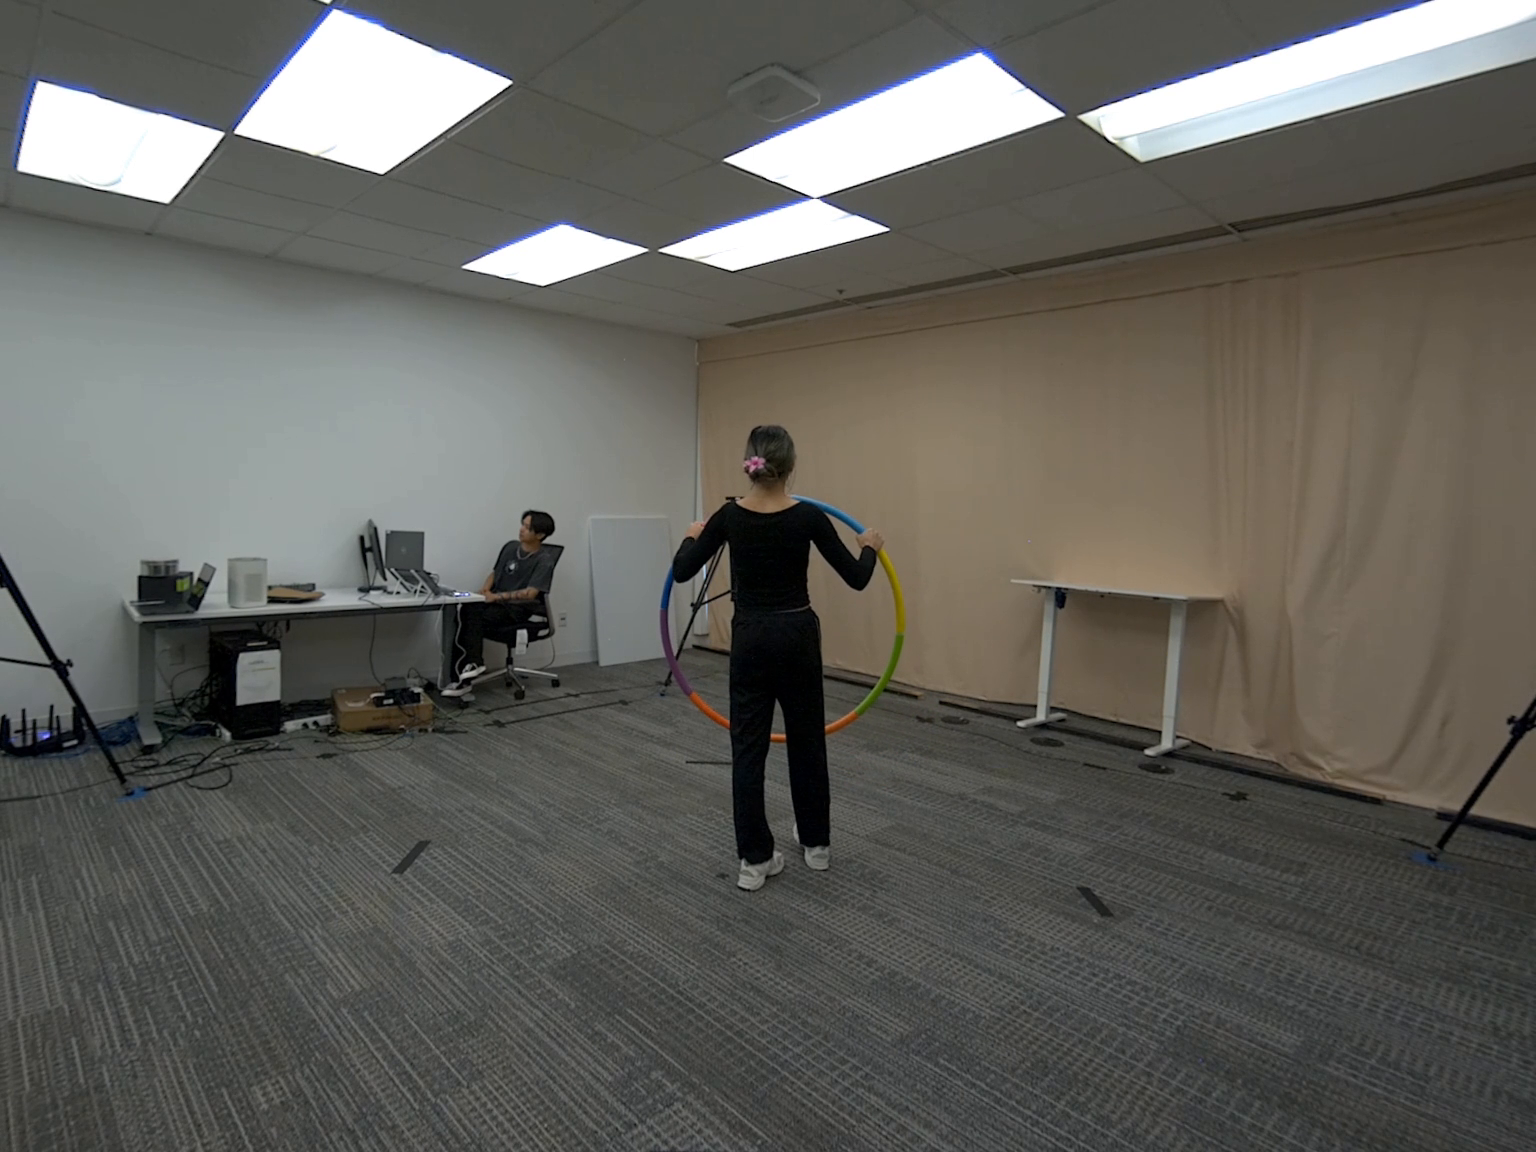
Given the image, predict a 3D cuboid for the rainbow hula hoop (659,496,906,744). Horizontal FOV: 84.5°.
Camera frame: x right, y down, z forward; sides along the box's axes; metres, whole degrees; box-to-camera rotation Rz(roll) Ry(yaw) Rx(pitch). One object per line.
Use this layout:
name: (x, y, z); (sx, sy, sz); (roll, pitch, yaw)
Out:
rainbow hula hoop: (0.037, 0.179, 3.342); (0.986, 0.974, 0.035); (2, 5, 9)
